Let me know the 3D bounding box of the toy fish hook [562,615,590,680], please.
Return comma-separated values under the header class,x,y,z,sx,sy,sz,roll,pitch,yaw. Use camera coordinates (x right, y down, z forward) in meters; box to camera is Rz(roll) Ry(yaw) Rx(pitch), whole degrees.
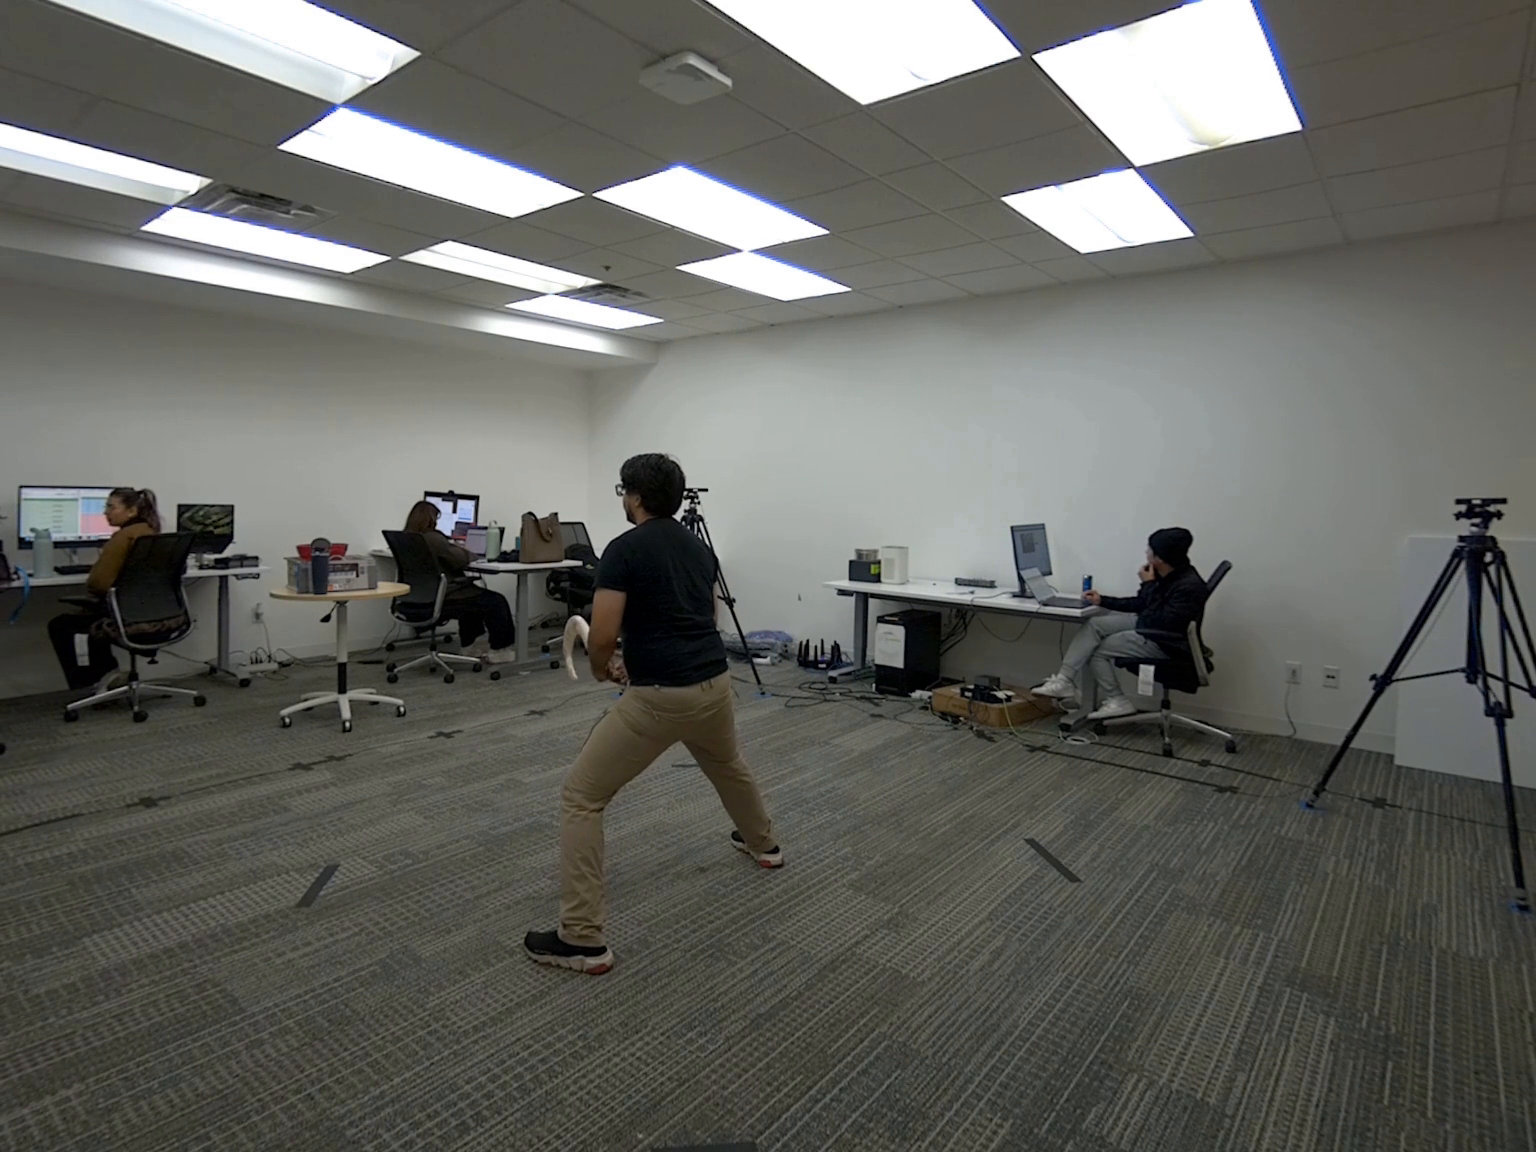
class,x,y,z,sx,sy,sz,roll,pitch,yaw
toy fish hook,-0.654,0.316,3.073,0.047,0.222,0.527,1,19,-31
